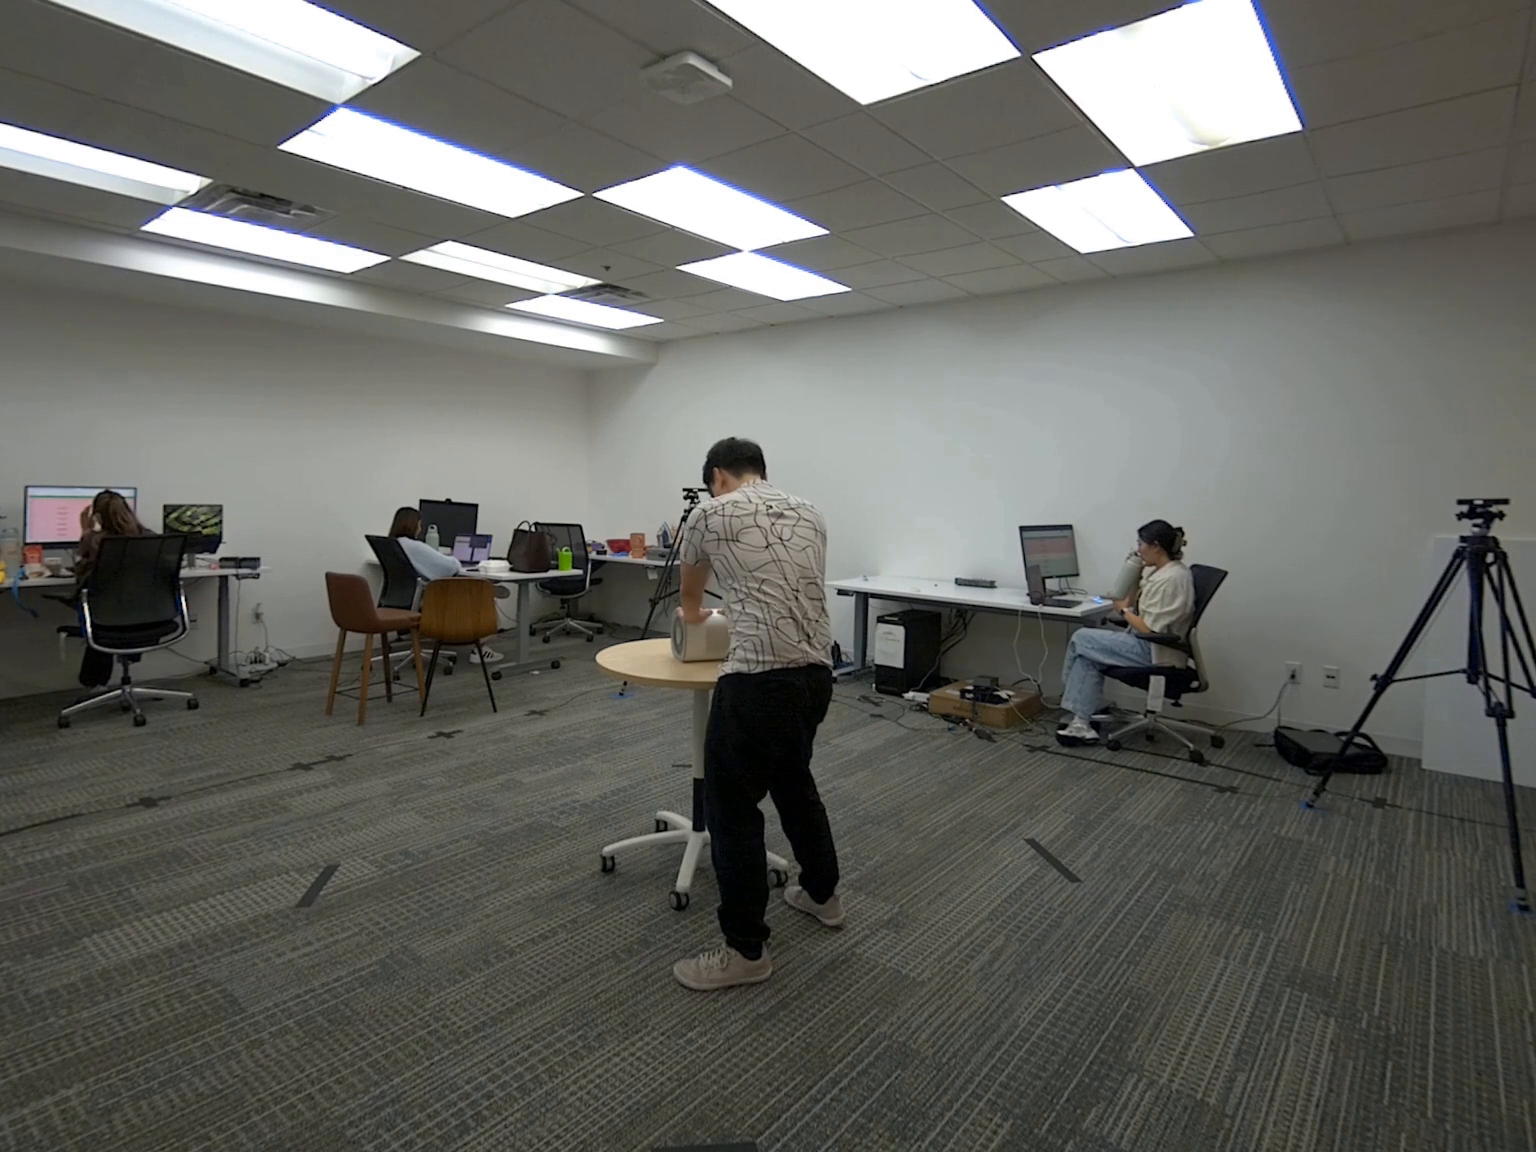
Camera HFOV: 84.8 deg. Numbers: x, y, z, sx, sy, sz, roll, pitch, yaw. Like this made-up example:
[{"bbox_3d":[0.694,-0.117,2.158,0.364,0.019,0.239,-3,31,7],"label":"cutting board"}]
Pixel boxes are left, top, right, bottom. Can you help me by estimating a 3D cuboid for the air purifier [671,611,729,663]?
[{"bbox_3d":[-0.210,0.201,3.076,0.260,0.170,0.176,0,10,-22],"label":"air purifier"}]
